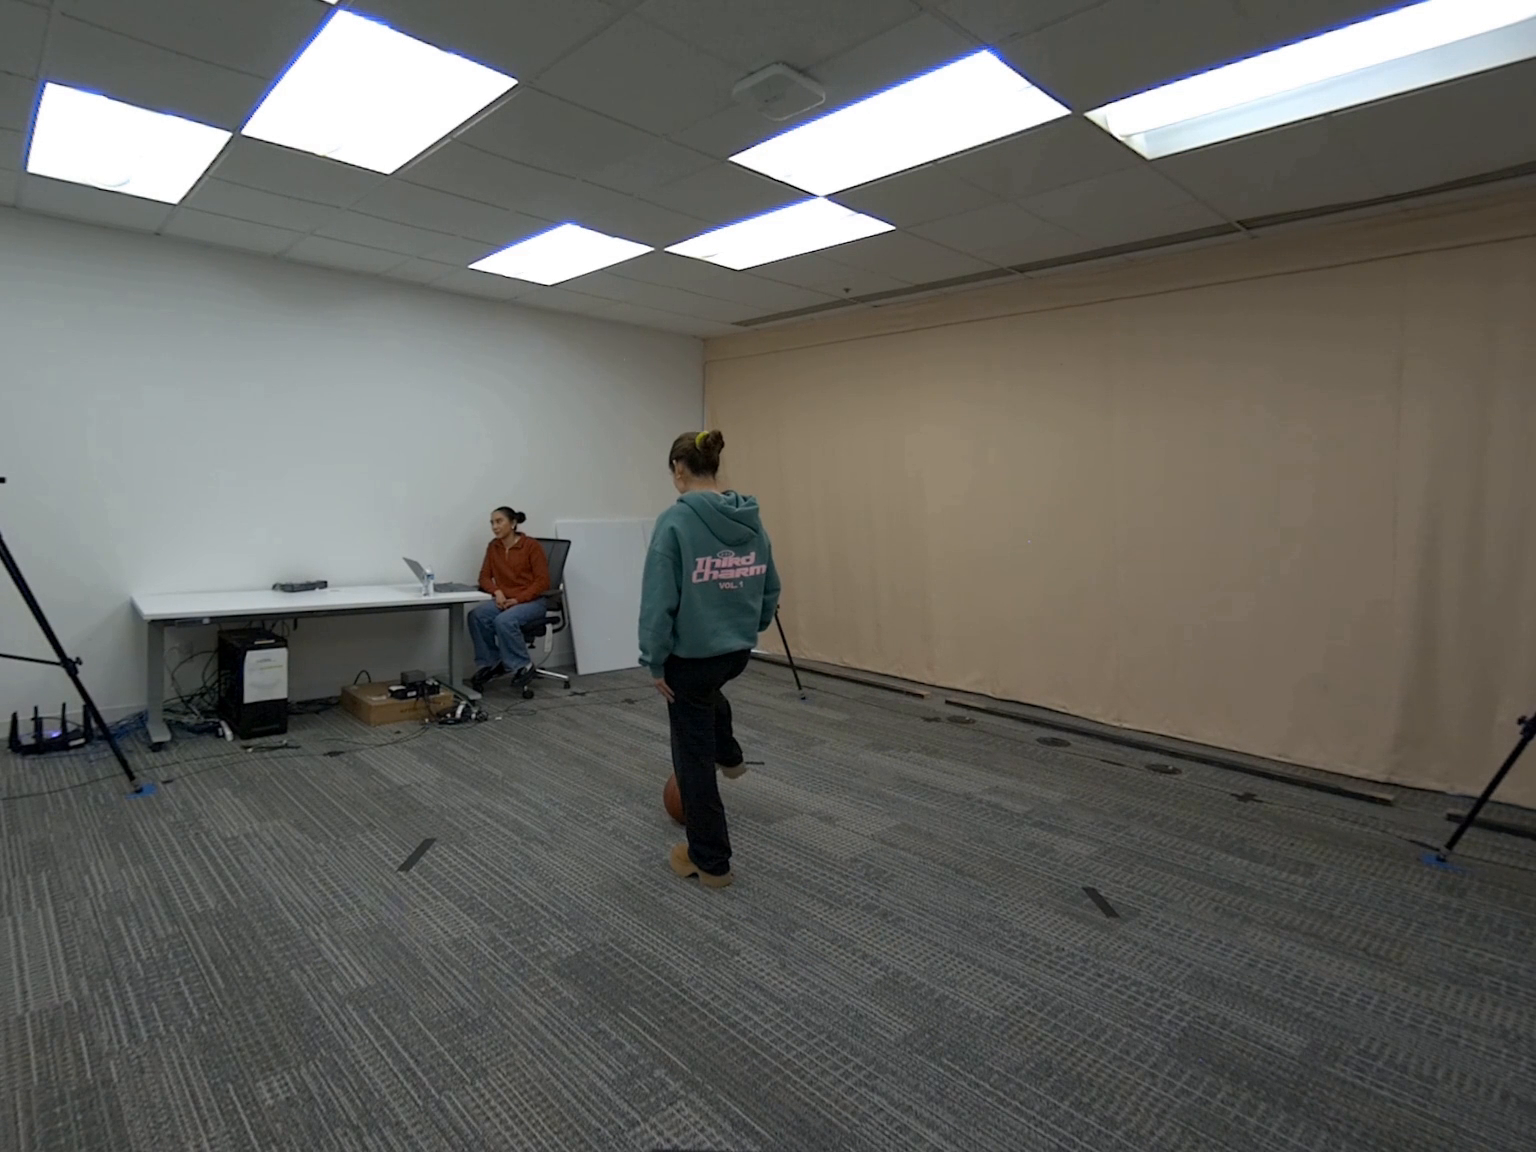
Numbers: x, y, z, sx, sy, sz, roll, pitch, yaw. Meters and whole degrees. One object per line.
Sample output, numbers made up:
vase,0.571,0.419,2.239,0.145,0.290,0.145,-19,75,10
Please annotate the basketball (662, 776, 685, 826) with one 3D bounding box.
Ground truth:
basketball,-0.340,0.938,3.582,0.236,0.235,0.237,1,4,-1
